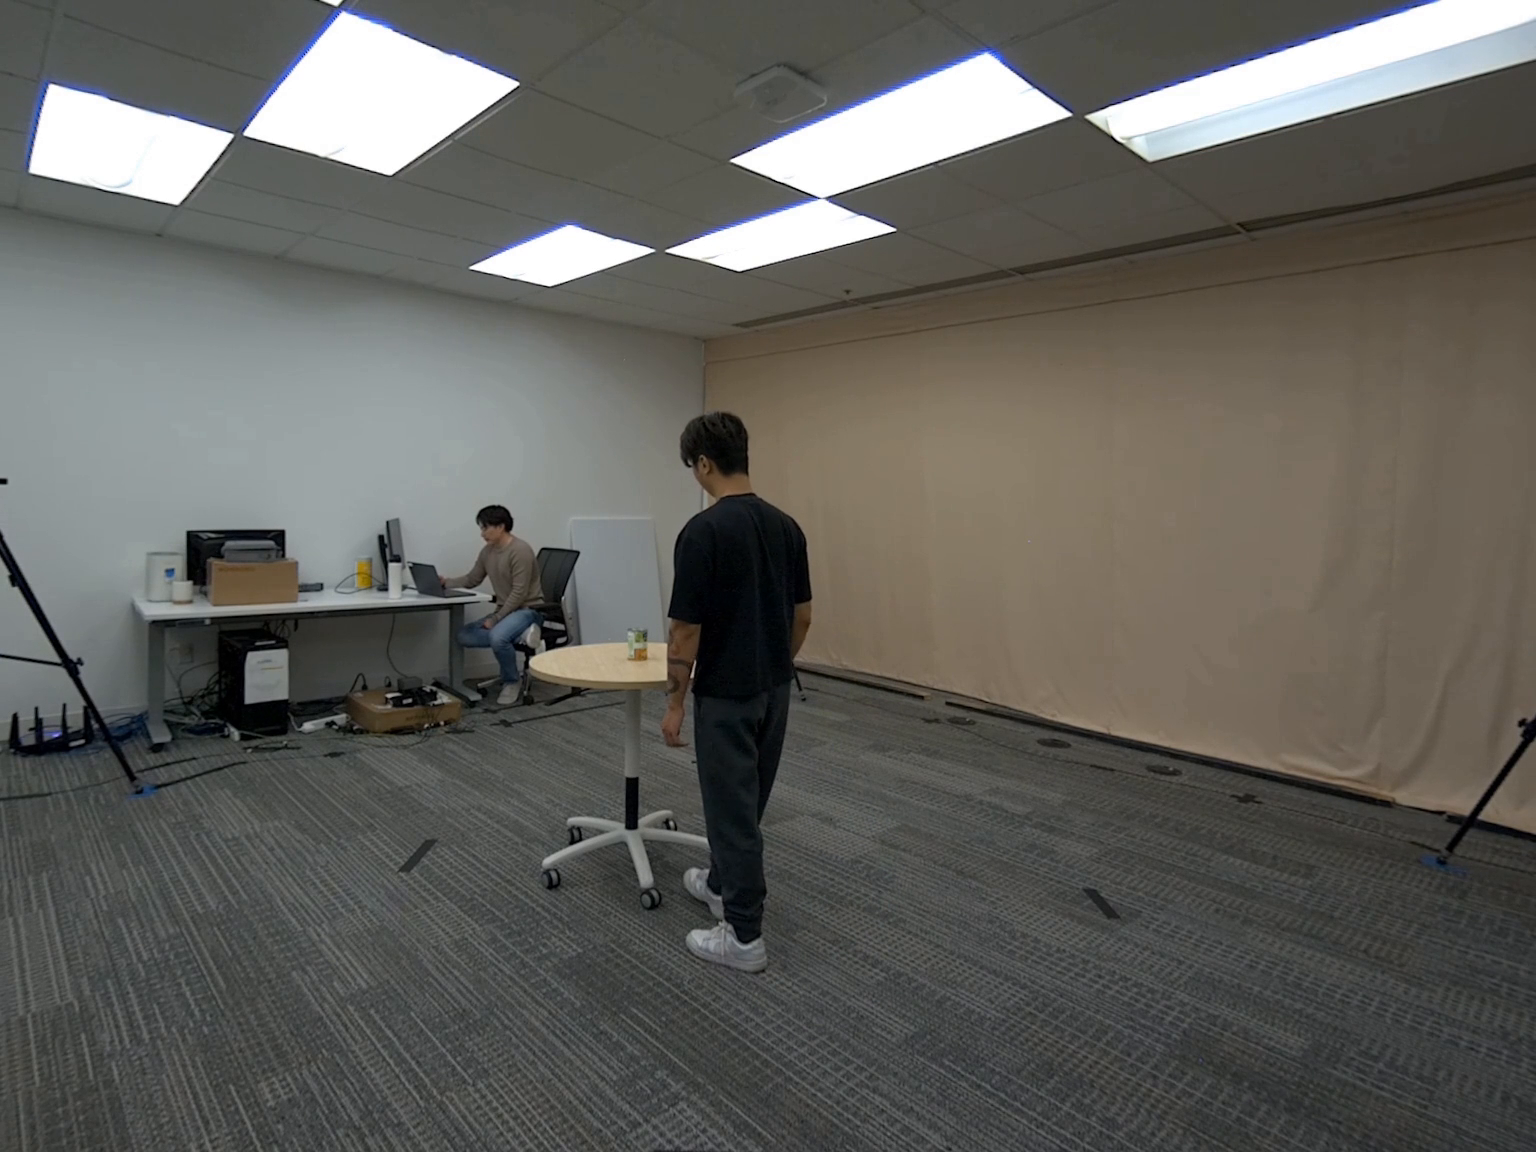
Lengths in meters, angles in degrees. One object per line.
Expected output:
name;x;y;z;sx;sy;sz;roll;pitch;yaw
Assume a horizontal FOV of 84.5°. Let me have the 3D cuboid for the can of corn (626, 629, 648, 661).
can of corn;-0.501;0.261;3.151;0.074;0.111;0.074;1;-1;-1
